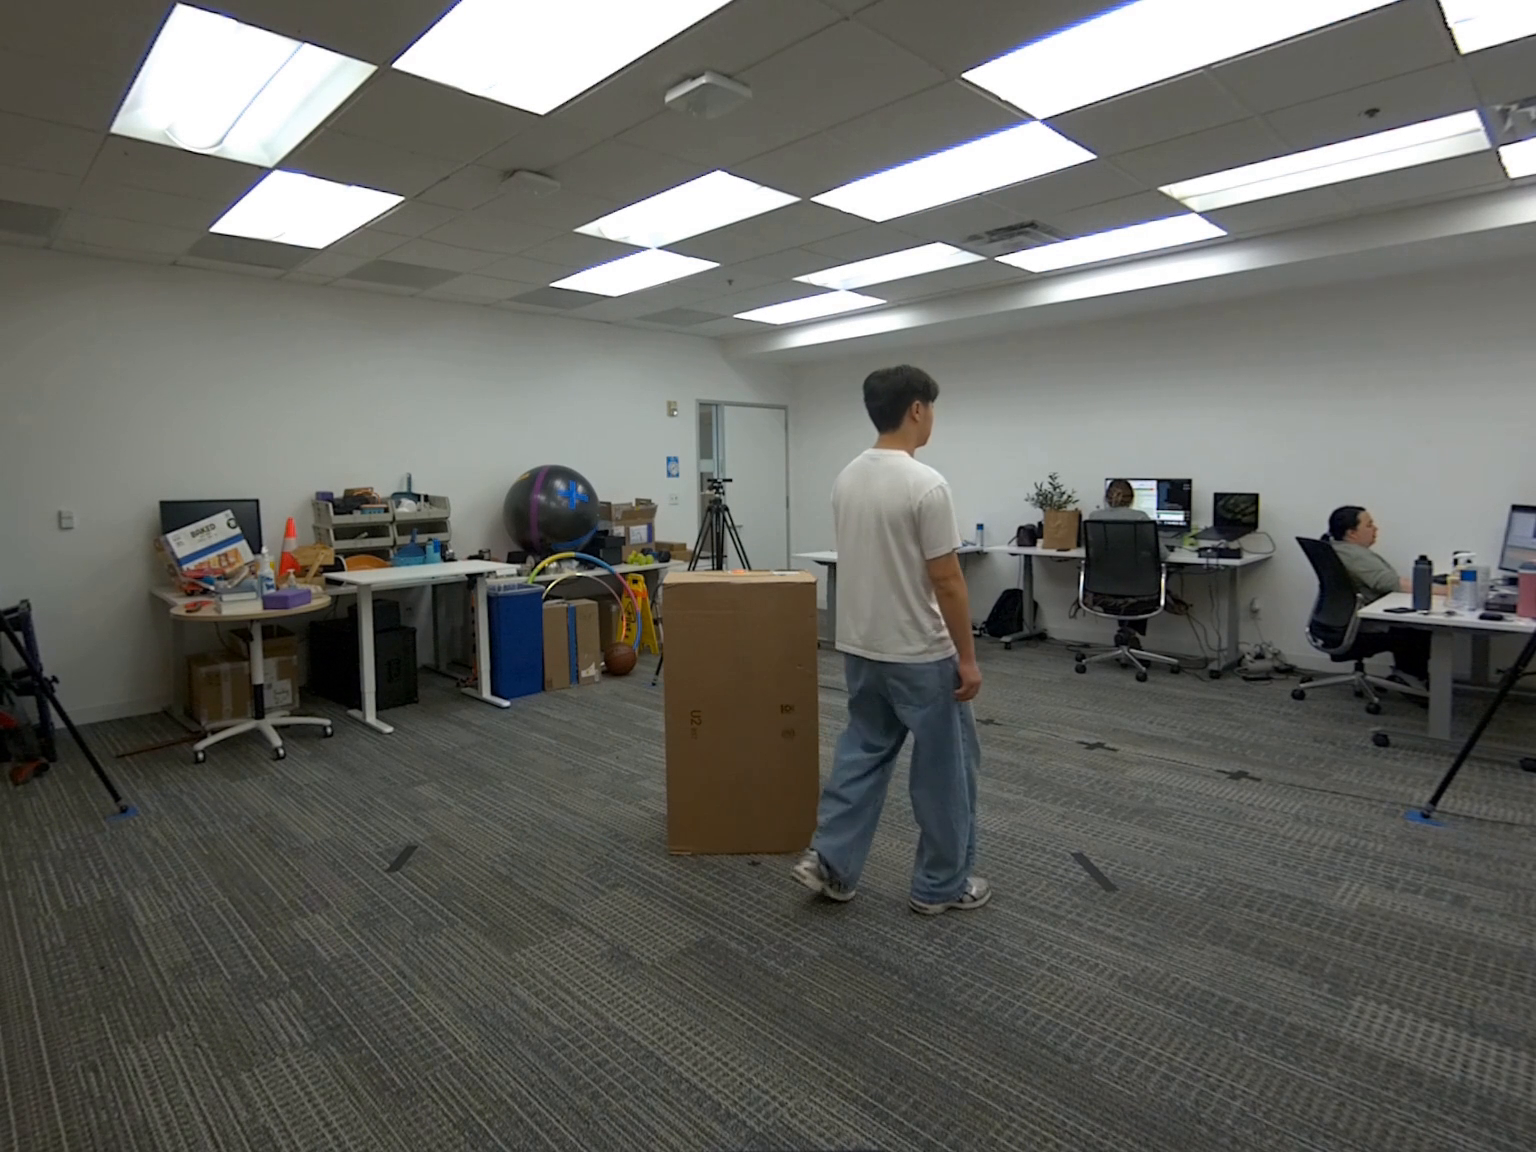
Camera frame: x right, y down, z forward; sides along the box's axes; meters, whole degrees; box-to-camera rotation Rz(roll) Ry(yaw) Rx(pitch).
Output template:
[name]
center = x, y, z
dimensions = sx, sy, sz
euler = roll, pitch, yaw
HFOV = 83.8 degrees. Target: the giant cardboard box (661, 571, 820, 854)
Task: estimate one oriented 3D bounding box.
[giant cardboard box]
center = -0.104, 0.507, 3.367
dimensions = 0.577, 1.022, 0.428
euler = -1, 4, -2
